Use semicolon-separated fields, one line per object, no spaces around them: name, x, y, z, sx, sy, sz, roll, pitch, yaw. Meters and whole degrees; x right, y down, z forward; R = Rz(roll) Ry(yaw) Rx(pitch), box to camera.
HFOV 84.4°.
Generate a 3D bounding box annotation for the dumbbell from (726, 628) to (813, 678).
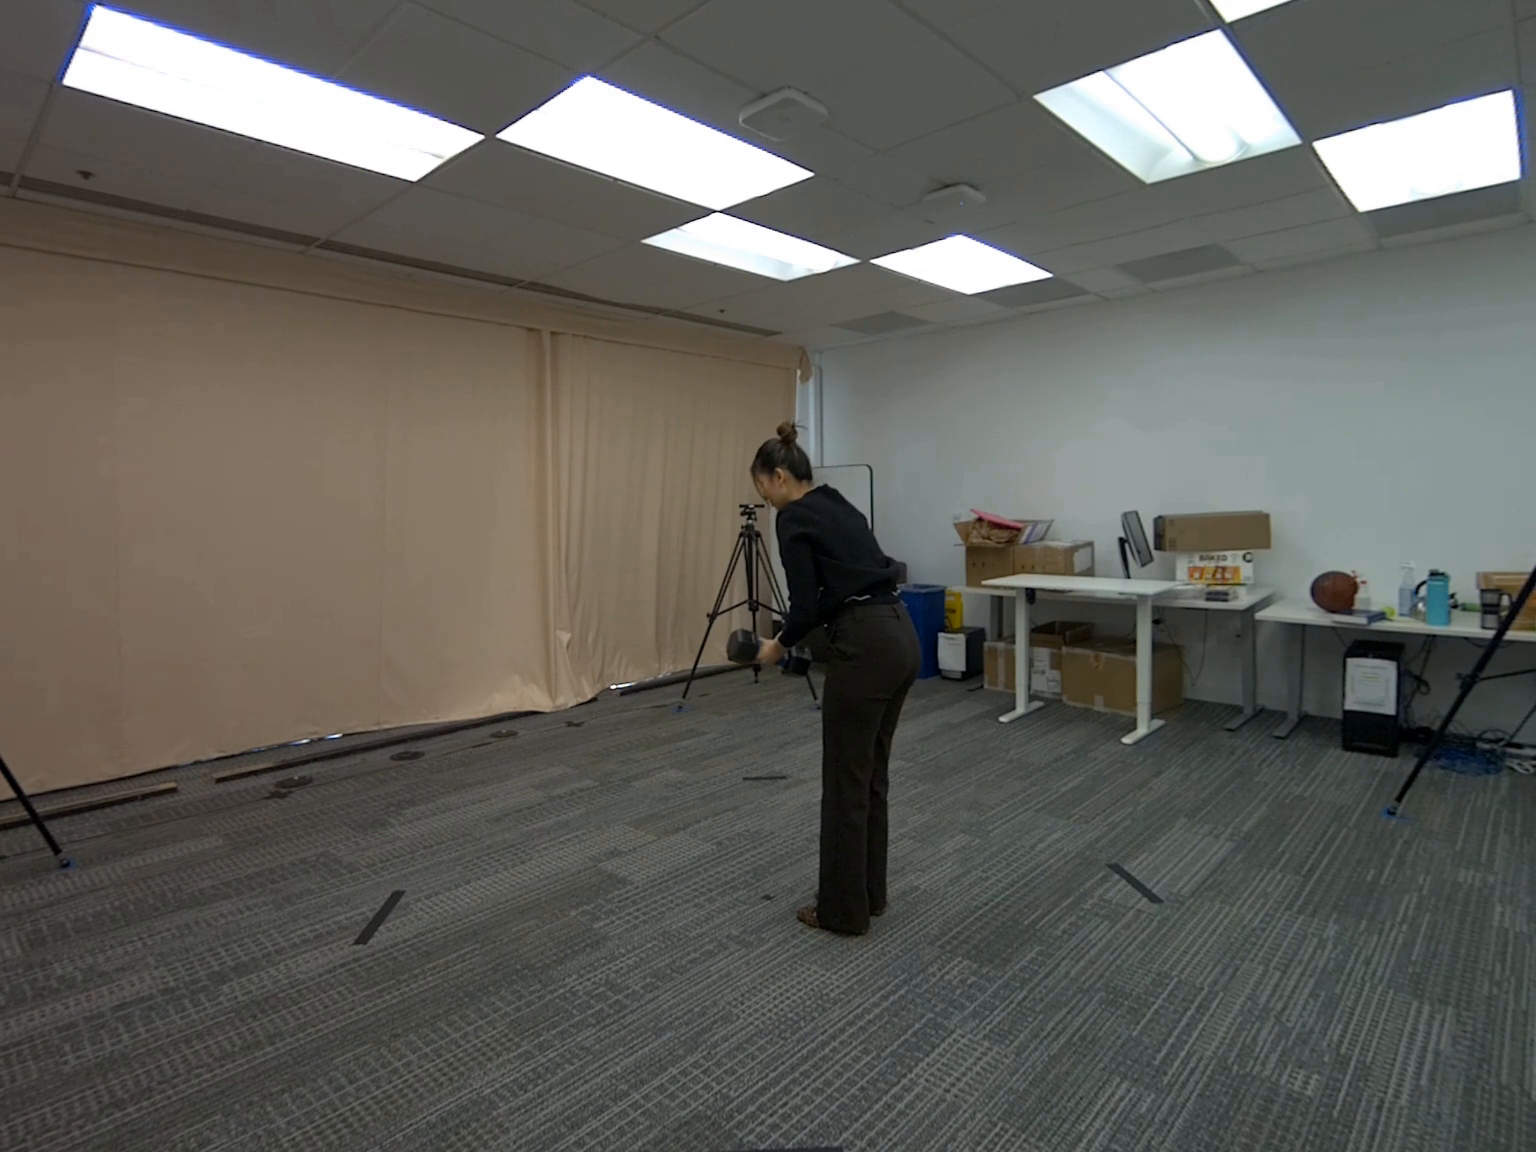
dumbbell;0.009;0.278;2.939;0.288;0.109;0.124;18;-20;-15
